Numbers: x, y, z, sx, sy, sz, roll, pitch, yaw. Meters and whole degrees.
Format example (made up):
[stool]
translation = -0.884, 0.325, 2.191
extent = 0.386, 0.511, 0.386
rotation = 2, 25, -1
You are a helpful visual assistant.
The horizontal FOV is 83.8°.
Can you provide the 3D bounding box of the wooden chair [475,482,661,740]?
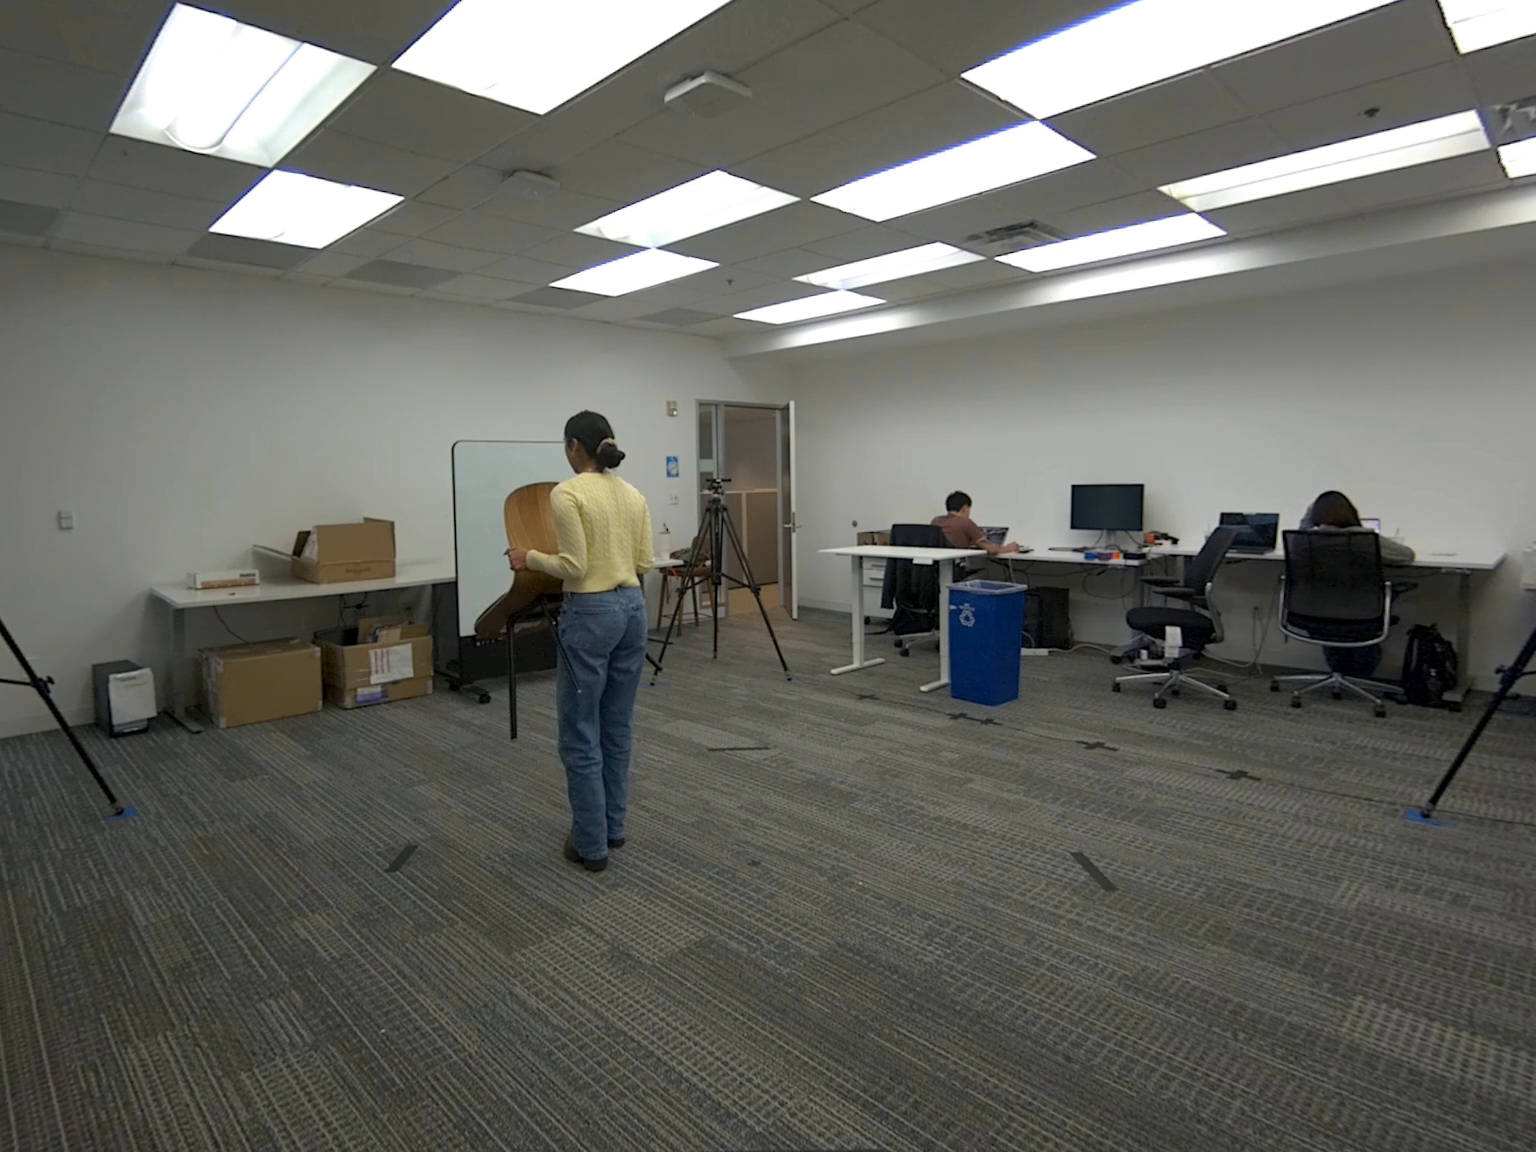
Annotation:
[wooden chair]
translation = -0.881, 0.131, 3.421
extent = 0.528, 0.891, 0.466
rotation = -32, -15, 34
